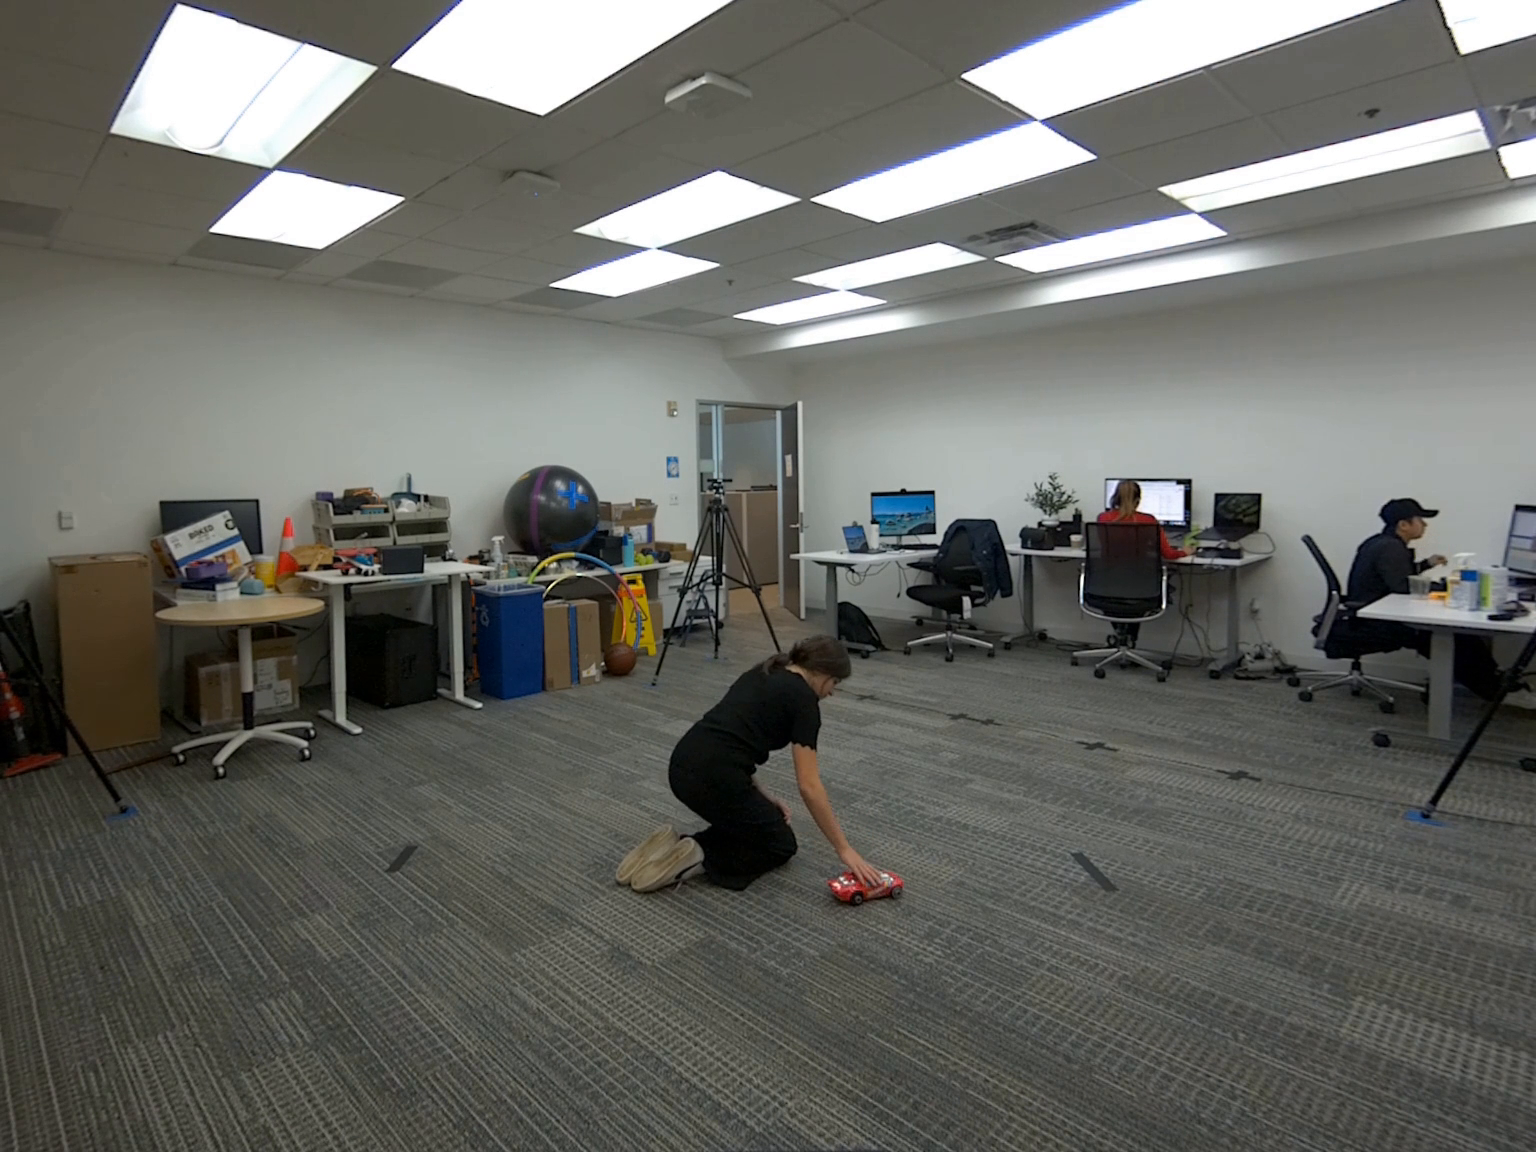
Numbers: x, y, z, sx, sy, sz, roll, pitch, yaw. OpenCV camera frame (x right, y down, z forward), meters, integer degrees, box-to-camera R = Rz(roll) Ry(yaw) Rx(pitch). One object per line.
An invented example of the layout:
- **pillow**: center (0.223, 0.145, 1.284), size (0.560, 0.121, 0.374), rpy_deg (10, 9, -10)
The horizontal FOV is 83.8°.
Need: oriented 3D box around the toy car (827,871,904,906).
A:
- **toy car**: center (0.321, 1.037, 2.843), size (0.250, 0.083, 0.133), rpy_deg (8, 2, -18)
